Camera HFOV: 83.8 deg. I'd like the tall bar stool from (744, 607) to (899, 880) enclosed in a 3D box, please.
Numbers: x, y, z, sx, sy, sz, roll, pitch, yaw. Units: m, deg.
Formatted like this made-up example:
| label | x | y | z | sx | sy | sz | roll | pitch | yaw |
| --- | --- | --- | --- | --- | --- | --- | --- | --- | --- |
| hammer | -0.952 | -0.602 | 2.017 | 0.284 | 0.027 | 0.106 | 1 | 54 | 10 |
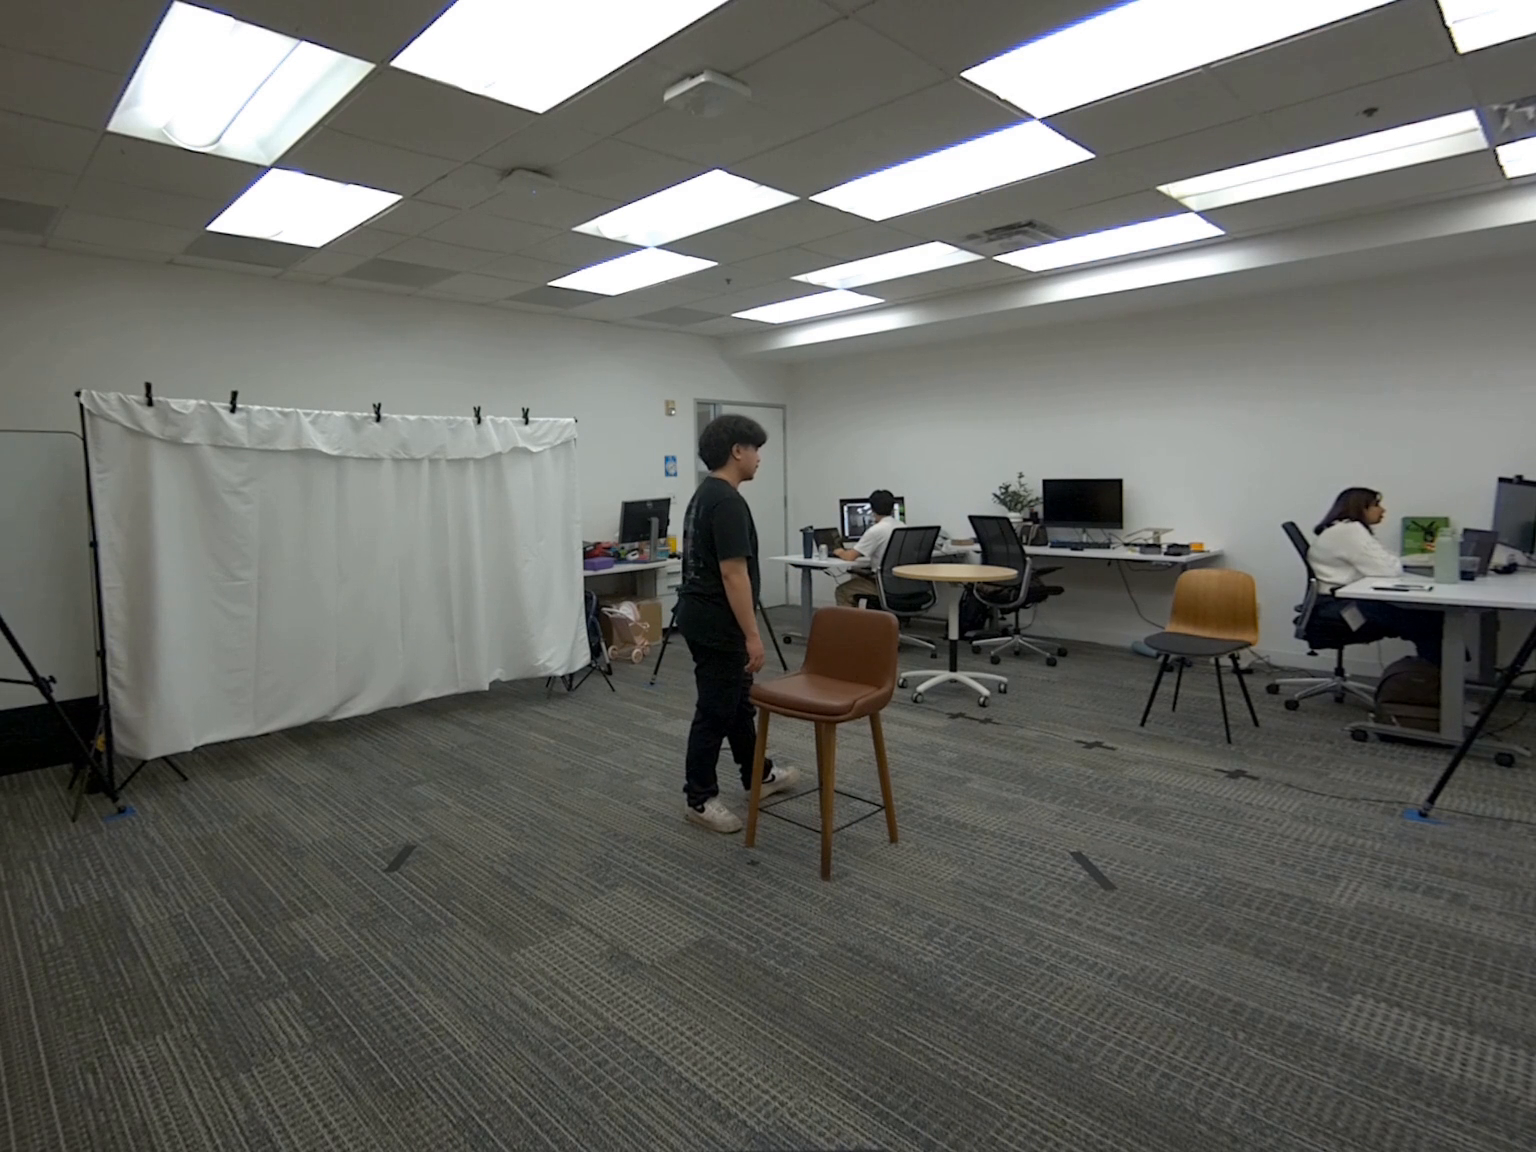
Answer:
| label | x | y | z | sx | sy | sz | roll | pitch | yaw |
| --- | --- | --- | --- | --- | --- | --- | --- | --- | --- |
| tall bar stool | 0.215 | 0.587 | 3.224 | 0.454 | 0.888 | 0.470 | -1 | 3 | -44 |
